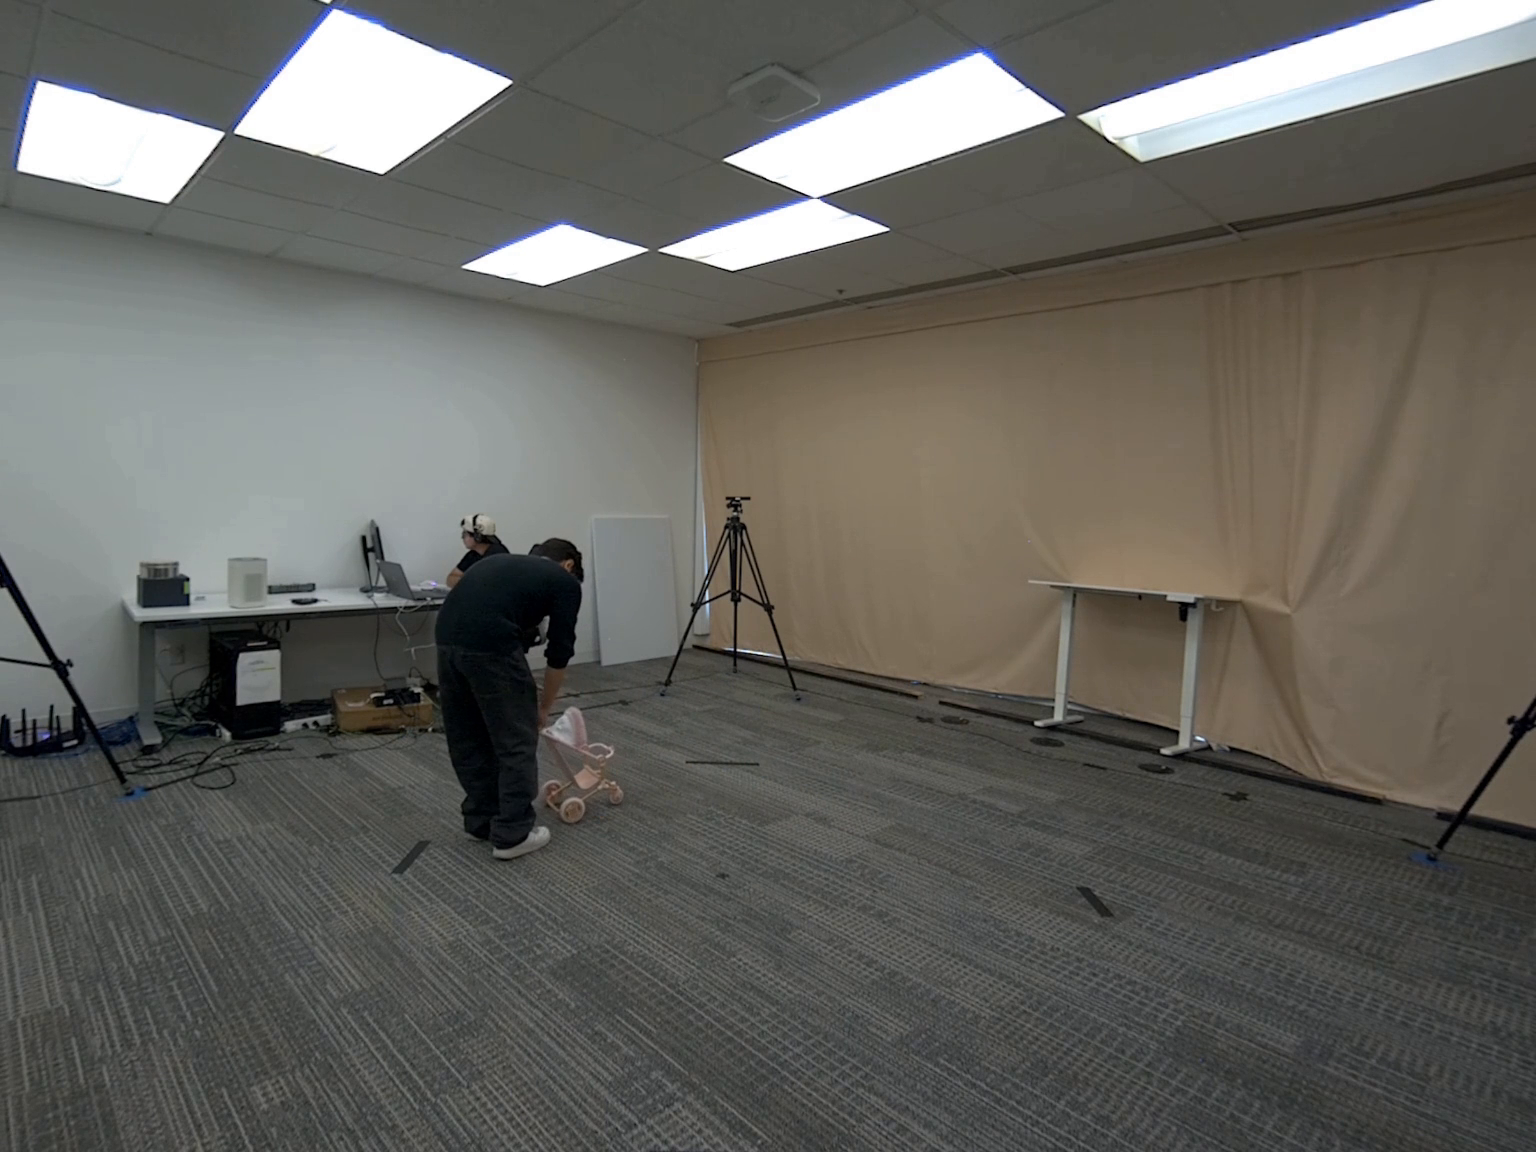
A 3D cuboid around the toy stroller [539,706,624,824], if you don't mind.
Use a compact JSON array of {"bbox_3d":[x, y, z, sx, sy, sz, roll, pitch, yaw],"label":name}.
[{"bbox_3d":[-0.851,0.815,3.702,0.337,0.530,0.288,-19,12,-27],"label":"toy stroller"}]
